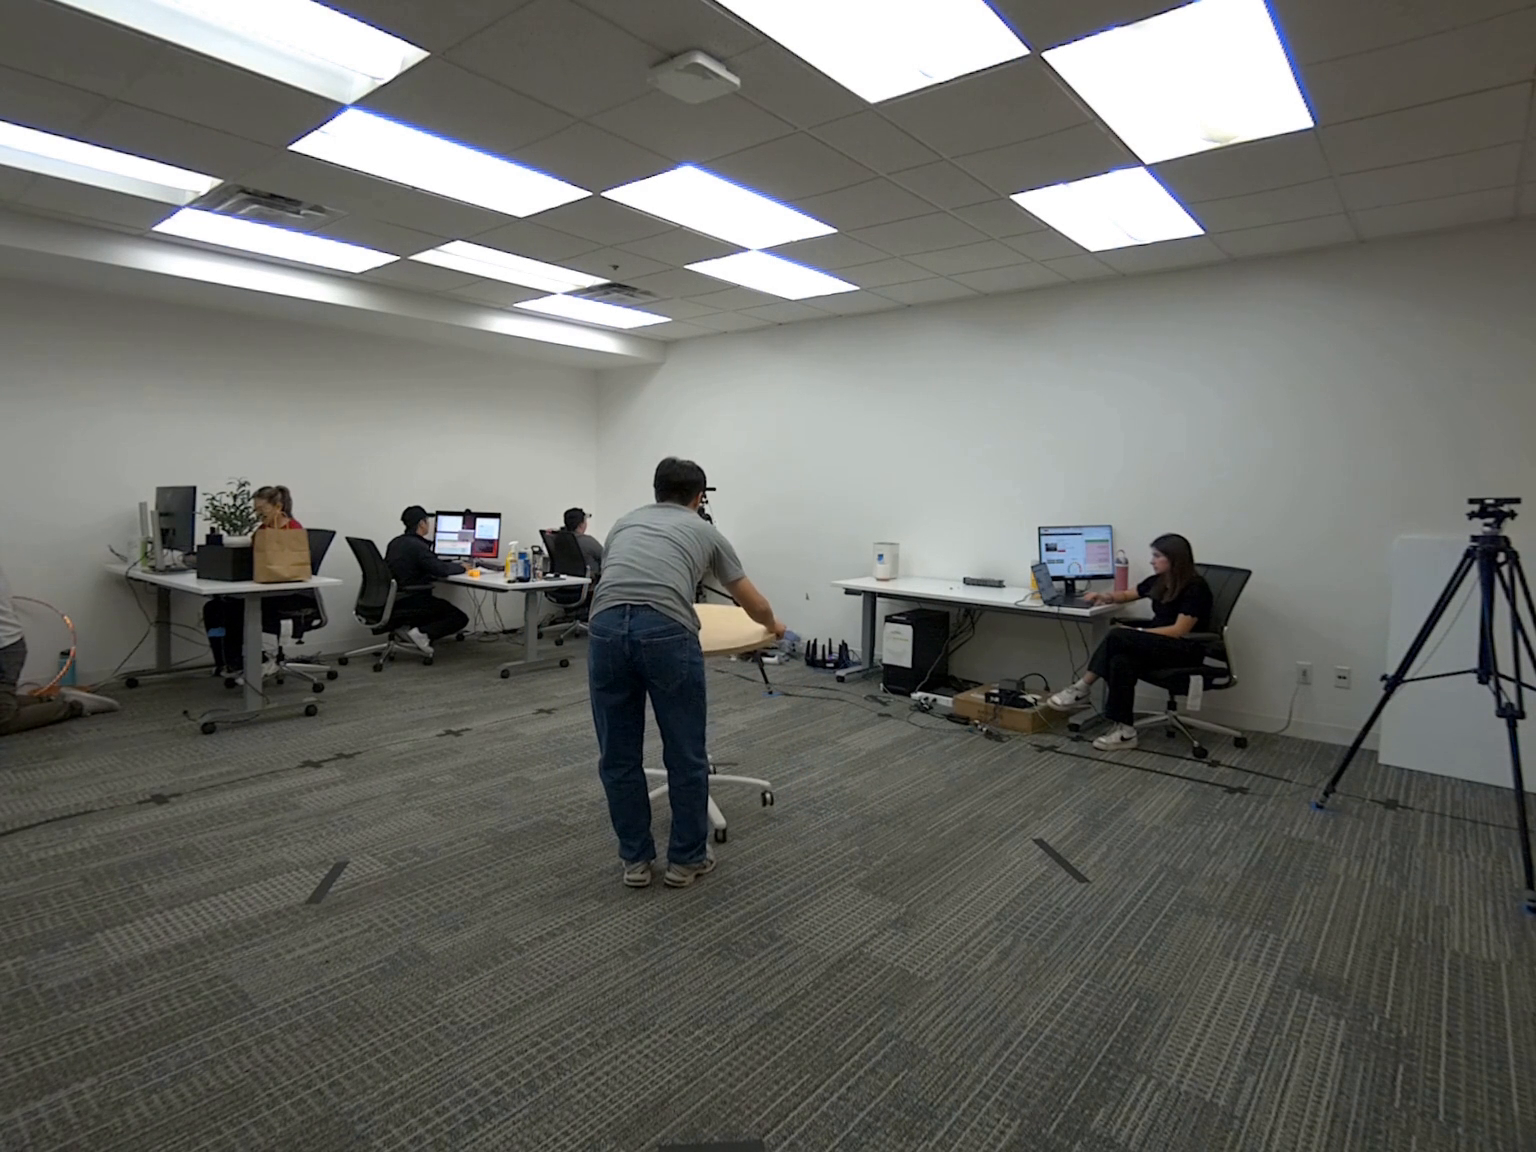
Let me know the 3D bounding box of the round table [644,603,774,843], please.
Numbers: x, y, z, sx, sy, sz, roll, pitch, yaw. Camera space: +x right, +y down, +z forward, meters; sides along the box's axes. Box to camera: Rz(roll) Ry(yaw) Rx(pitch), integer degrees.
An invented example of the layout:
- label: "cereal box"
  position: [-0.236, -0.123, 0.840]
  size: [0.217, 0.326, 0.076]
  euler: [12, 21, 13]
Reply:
- label: "round table"
  position: [-0.340, 0.598, 3.577]
  size: [0.763, 0.787, 0.772]
  euler: [-1, 10, -2]
